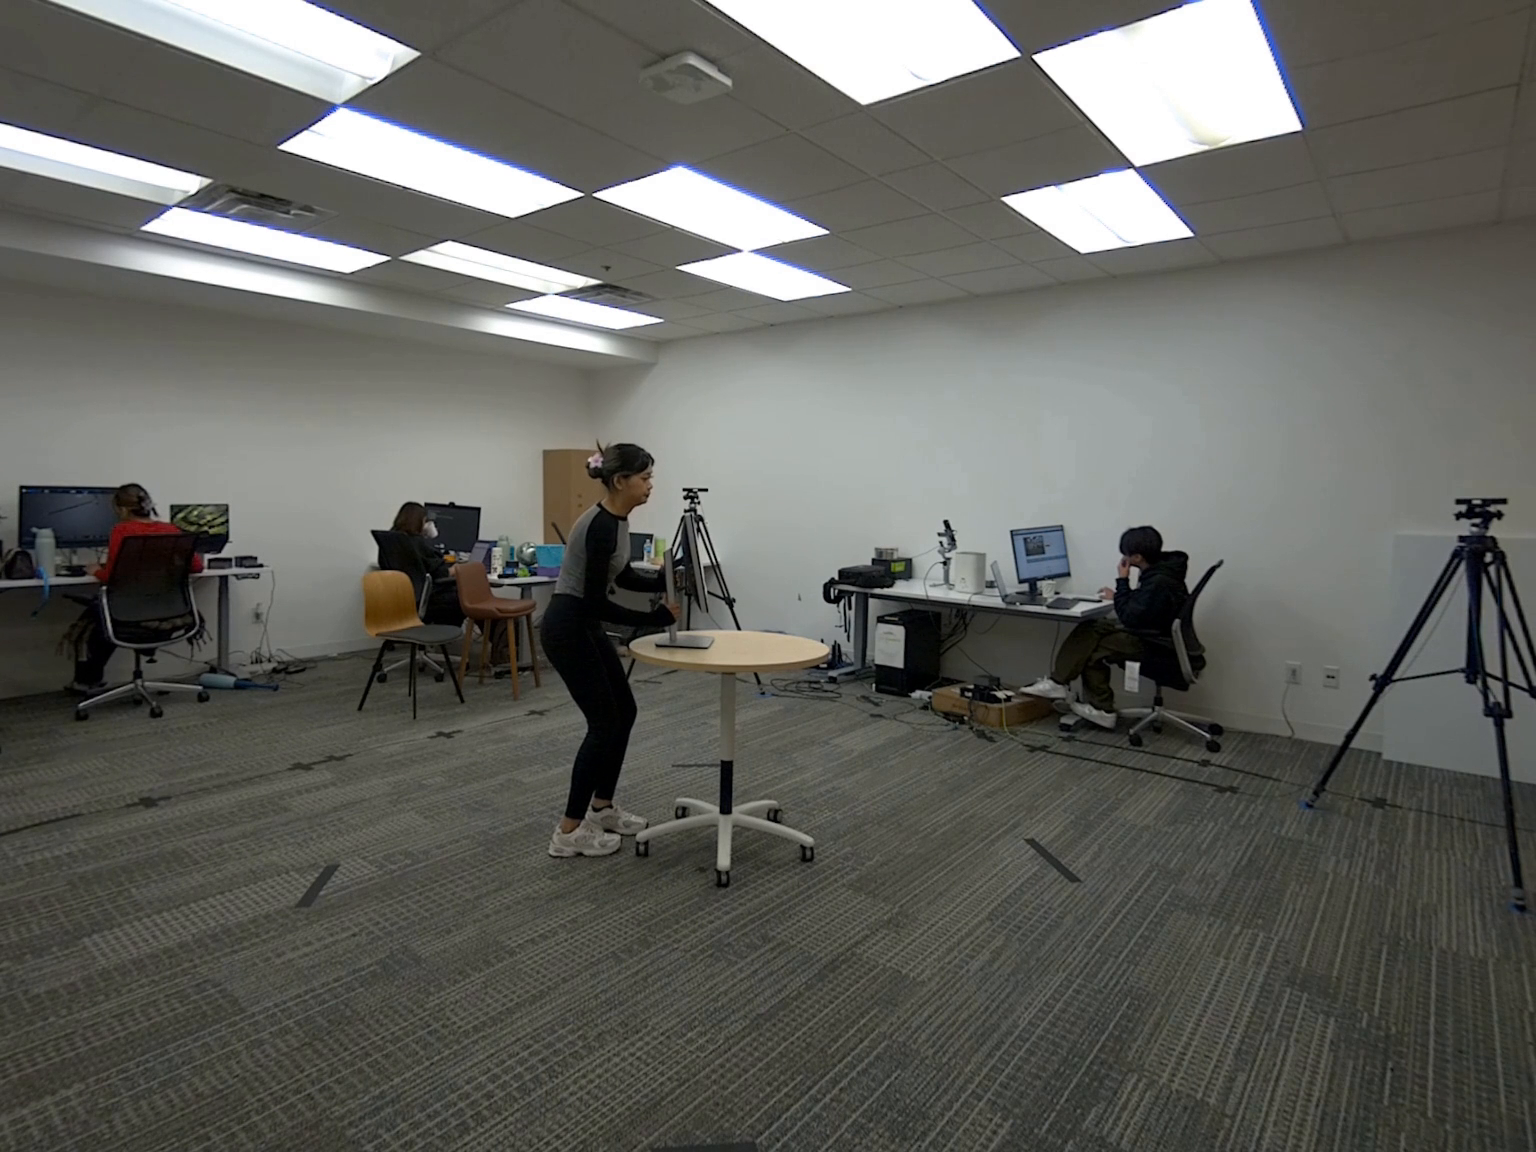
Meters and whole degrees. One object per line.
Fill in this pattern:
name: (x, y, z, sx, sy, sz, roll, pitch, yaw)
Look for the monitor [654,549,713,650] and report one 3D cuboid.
monitor: (-0.329, 0.015, 3.292, 0.186, 0.521, 0.543, 2, 3, -6)
